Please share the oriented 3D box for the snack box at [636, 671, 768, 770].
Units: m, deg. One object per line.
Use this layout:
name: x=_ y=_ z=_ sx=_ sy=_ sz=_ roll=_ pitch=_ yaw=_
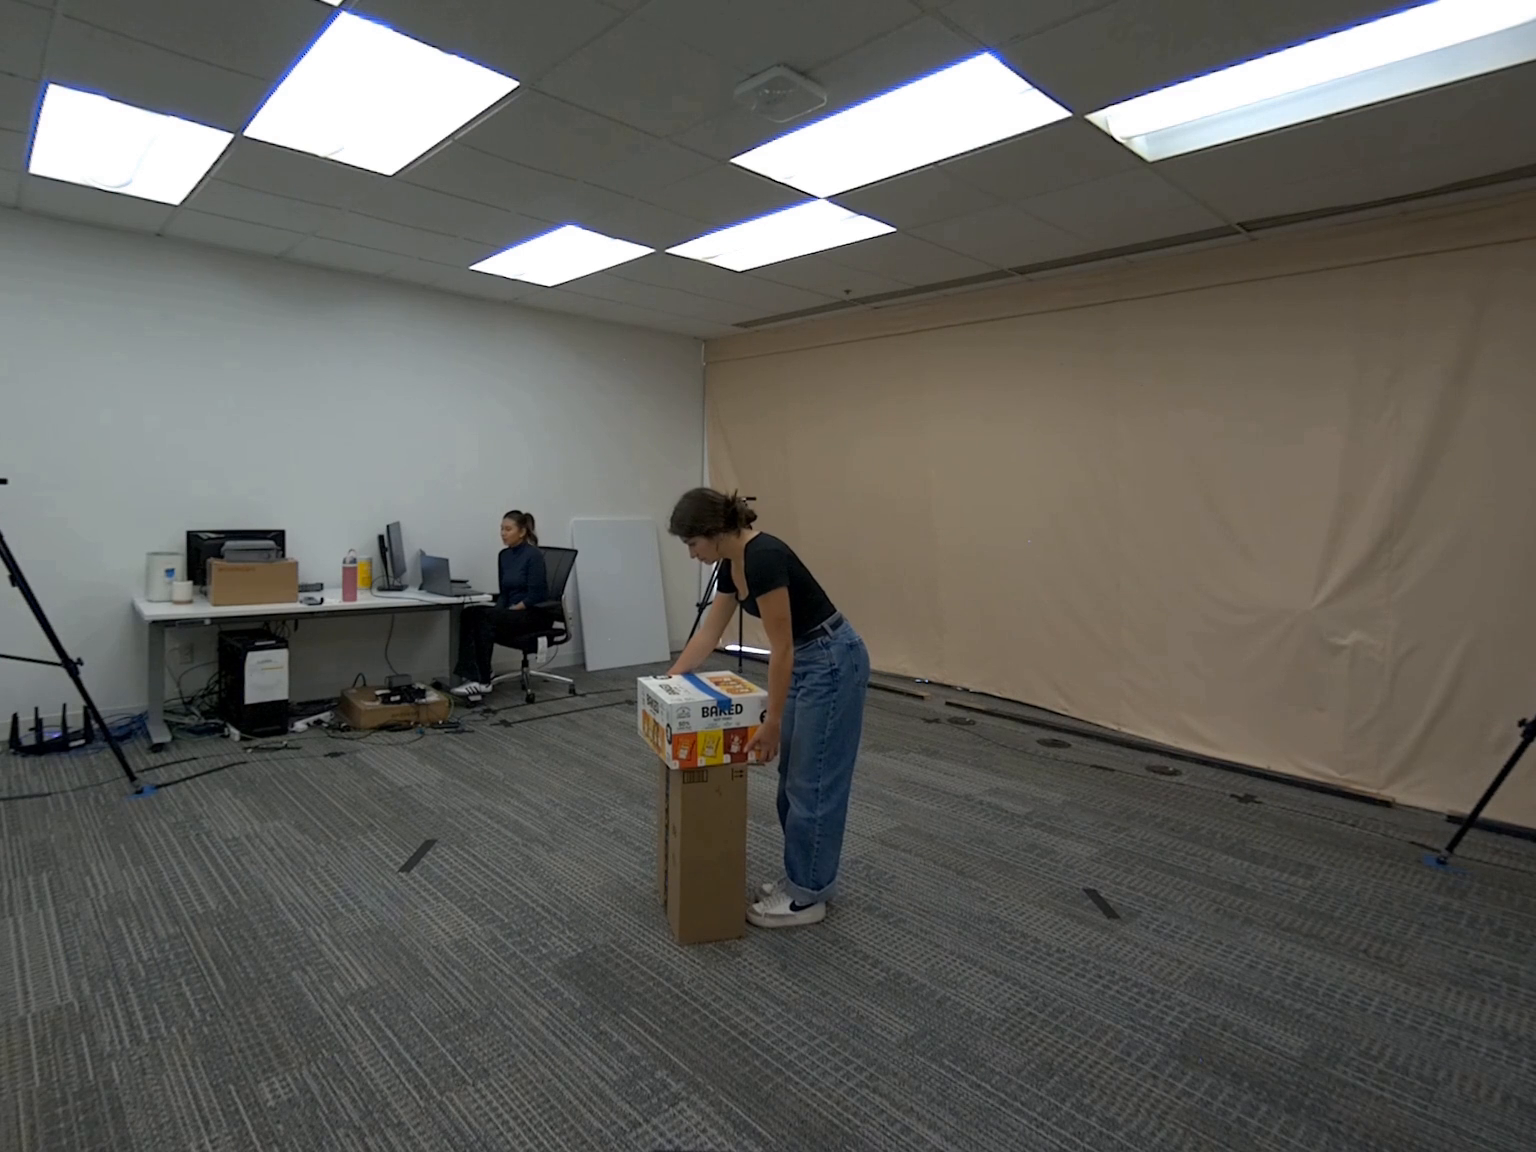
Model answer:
snack box: x=-0.220 y=0.462 z=2.787 sx=0.335 sy=0.205 sz=0.413 roll=-1 pitch=5 yaw=-22
